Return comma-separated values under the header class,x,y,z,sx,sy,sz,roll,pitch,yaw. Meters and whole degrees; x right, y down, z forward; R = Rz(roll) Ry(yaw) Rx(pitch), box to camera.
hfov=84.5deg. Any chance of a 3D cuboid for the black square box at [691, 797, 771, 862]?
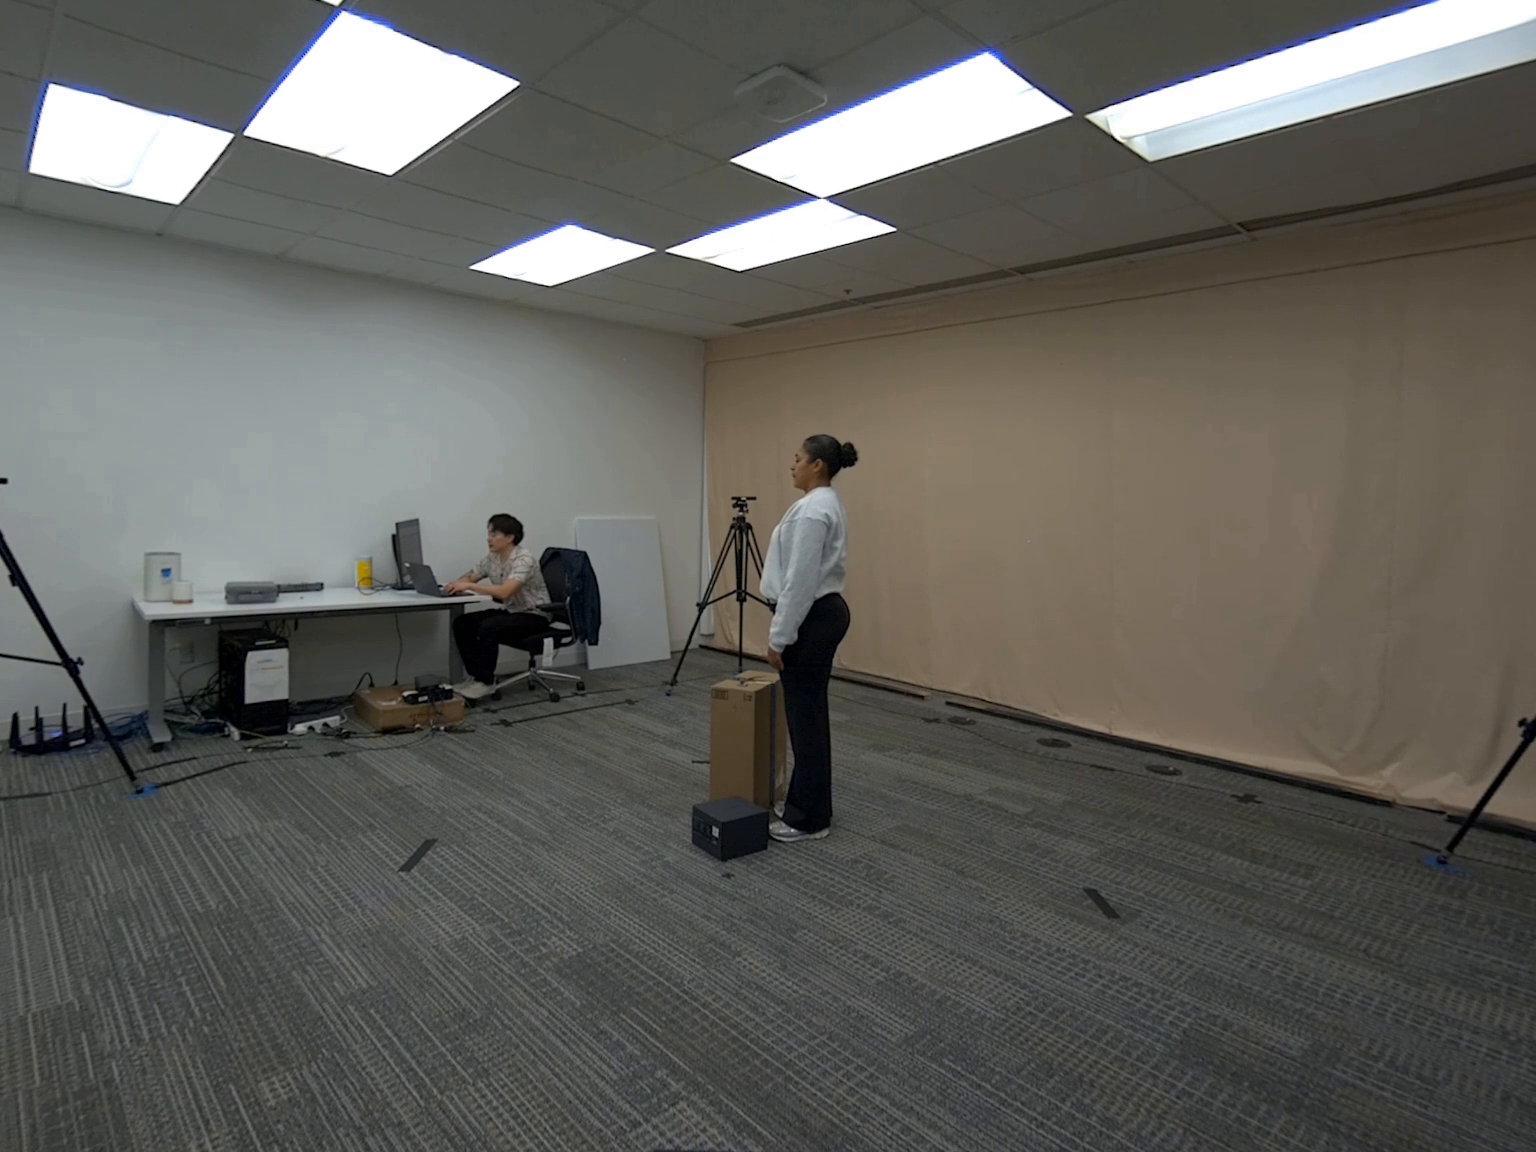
class,x,y,z,sx,sy,sz,roll,pitch,yaw
black square box,-0.165,1.004,3.363,0.223,0.155,0.222,-1,5,-38
